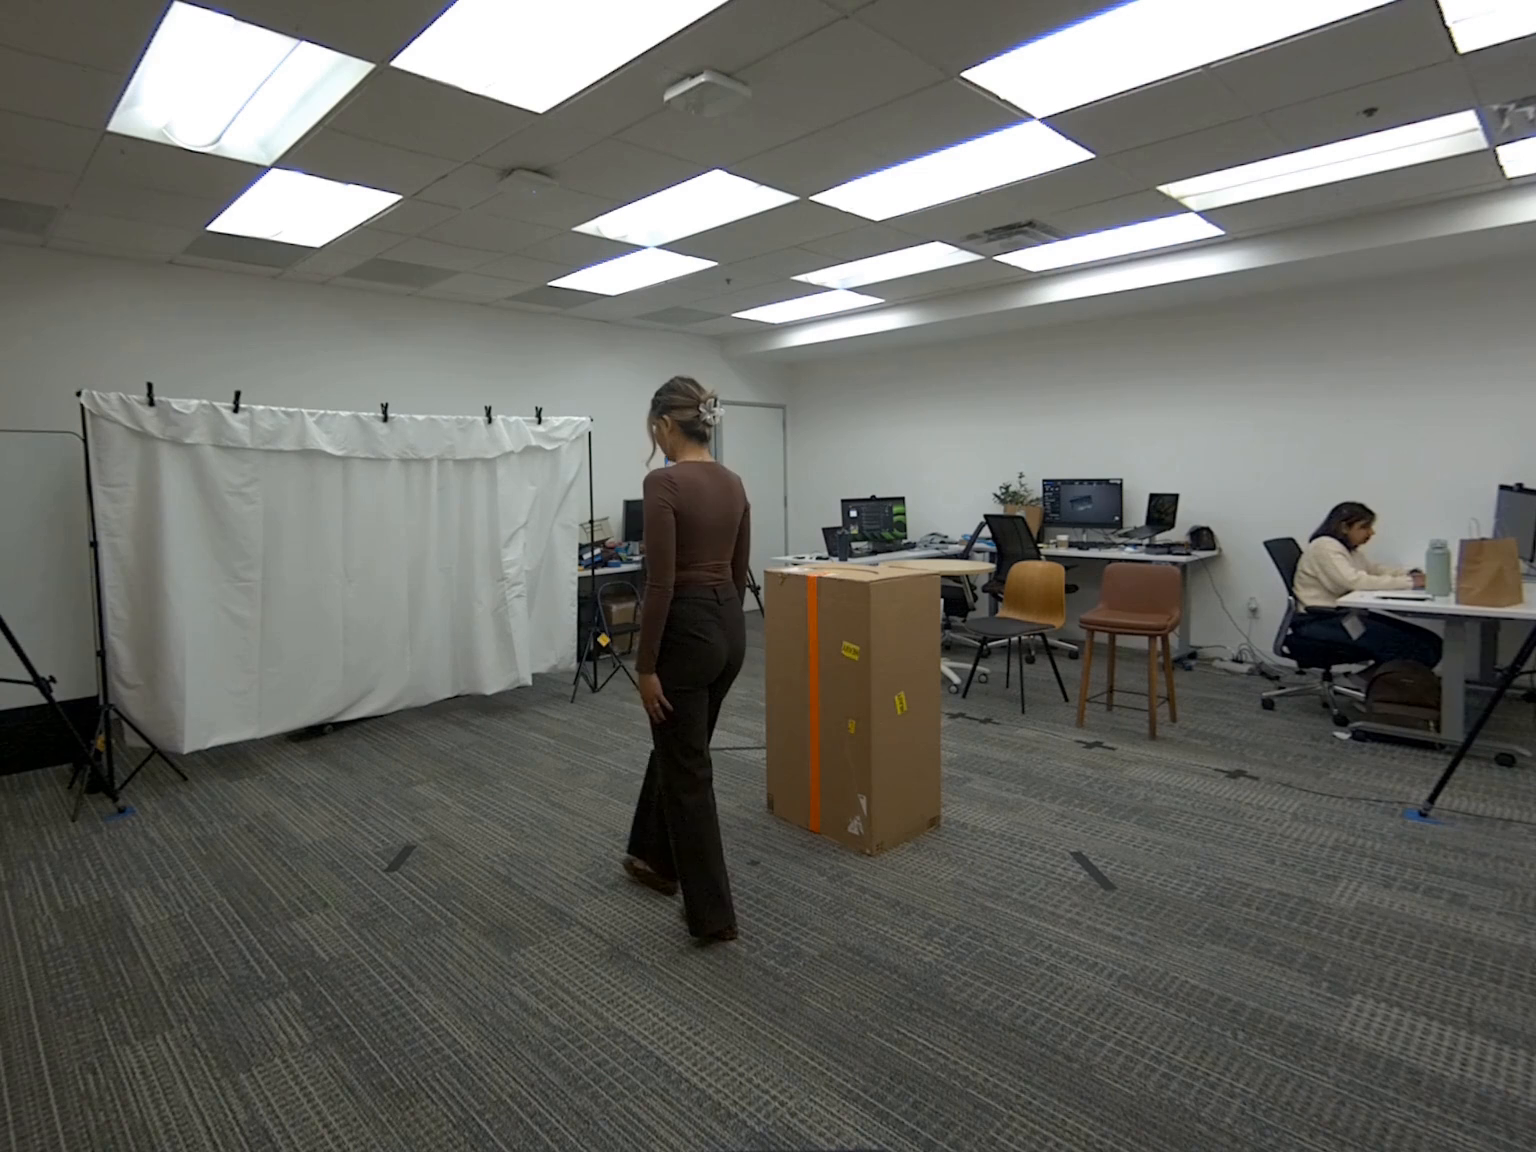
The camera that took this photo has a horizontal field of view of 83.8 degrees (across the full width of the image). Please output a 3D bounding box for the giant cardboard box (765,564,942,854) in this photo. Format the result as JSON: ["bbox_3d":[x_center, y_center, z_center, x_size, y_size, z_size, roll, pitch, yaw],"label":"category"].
[{"bbox_3d":[0.337,0.484,3.457,0.435,1.023,0.602,-5,6,-39],"label":"giant cardboard box"}]
